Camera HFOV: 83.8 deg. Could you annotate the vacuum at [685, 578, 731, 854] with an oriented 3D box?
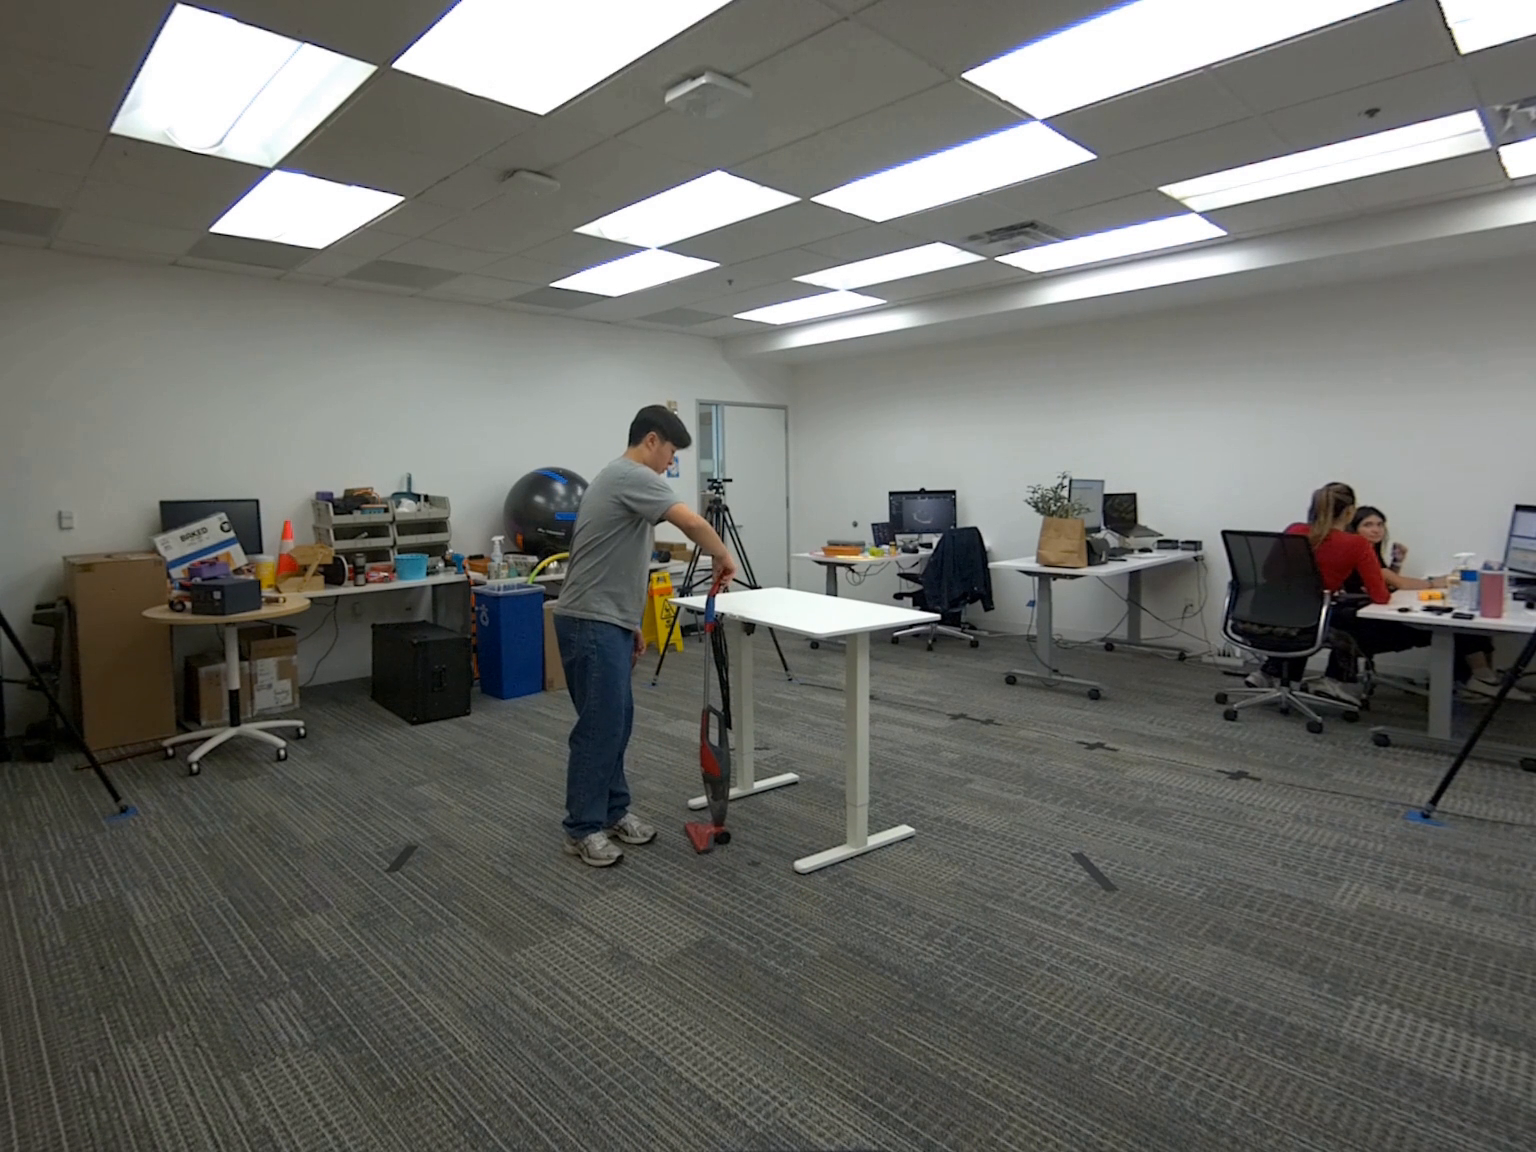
[{"bbox_3d":[-0.195,0.504,3.306,0.142,1.046,0.256,4,3,-12],"label":"vacuum"}]
